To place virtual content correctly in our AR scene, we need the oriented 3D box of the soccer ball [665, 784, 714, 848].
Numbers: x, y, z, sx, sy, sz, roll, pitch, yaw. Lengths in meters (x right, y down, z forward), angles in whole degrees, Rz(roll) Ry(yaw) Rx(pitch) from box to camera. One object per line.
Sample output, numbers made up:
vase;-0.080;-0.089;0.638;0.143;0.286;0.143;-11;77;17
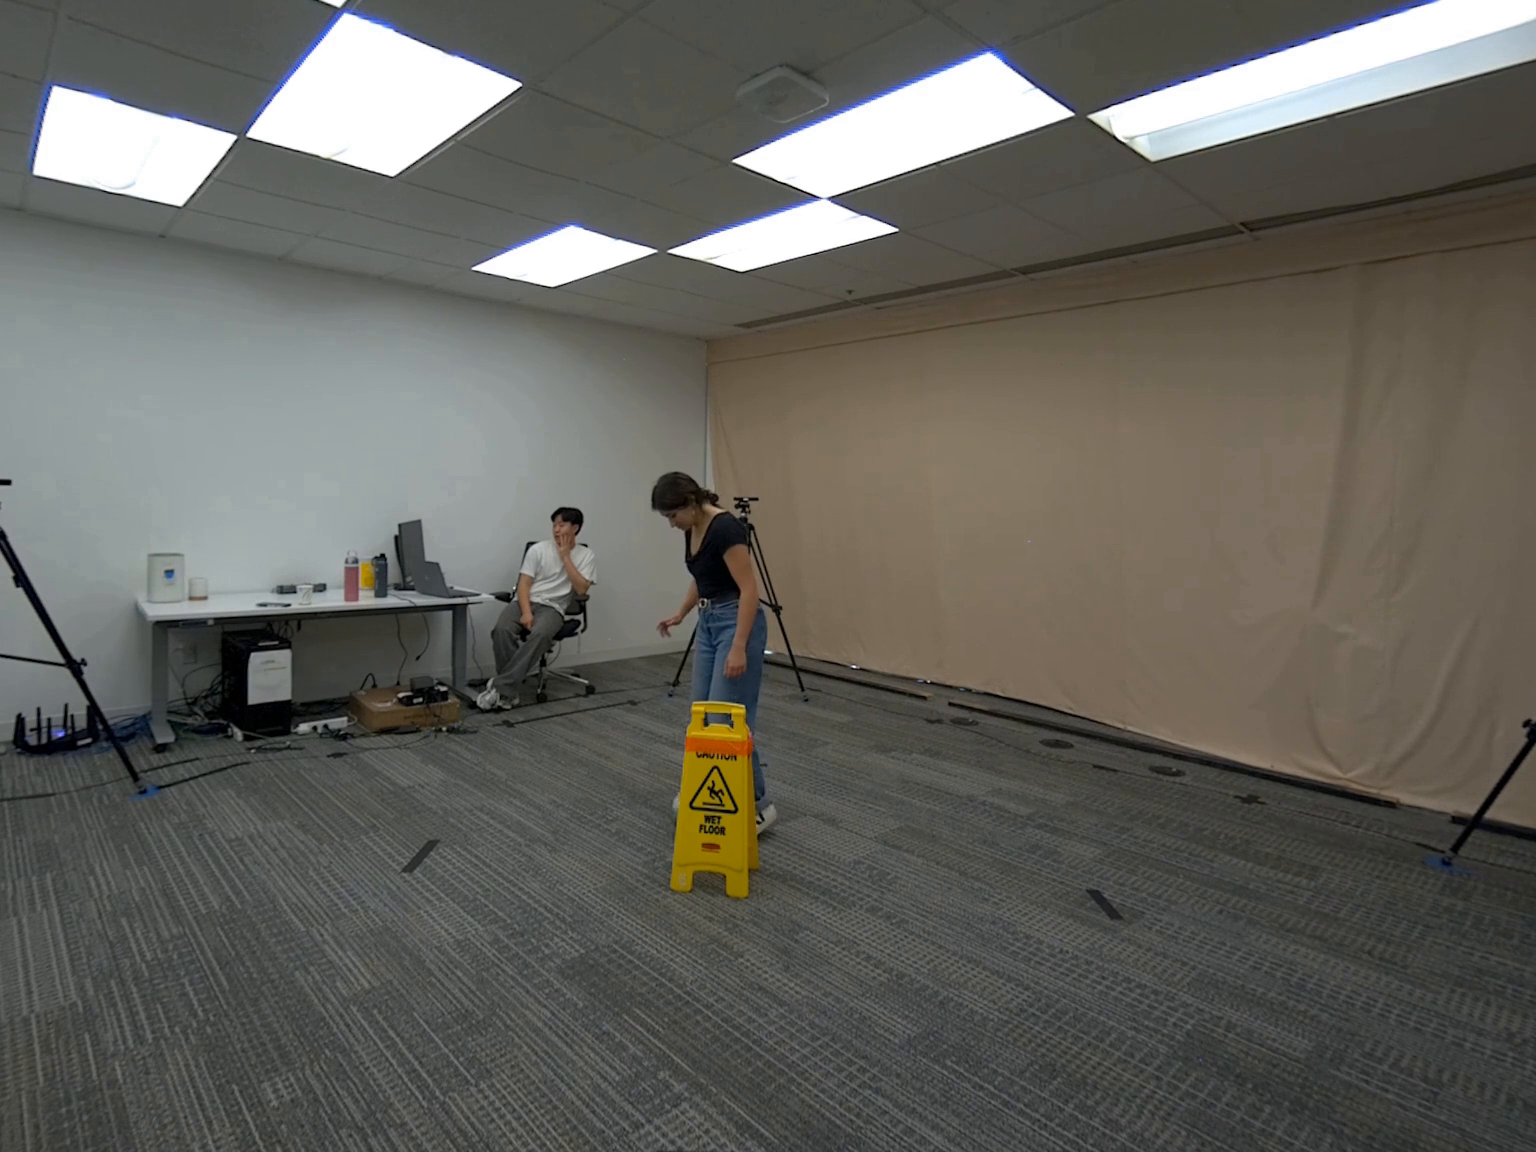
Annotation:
soccer ball;-0.324;0.983;3.489;0.187;0.187;0.188;1;4;-1
